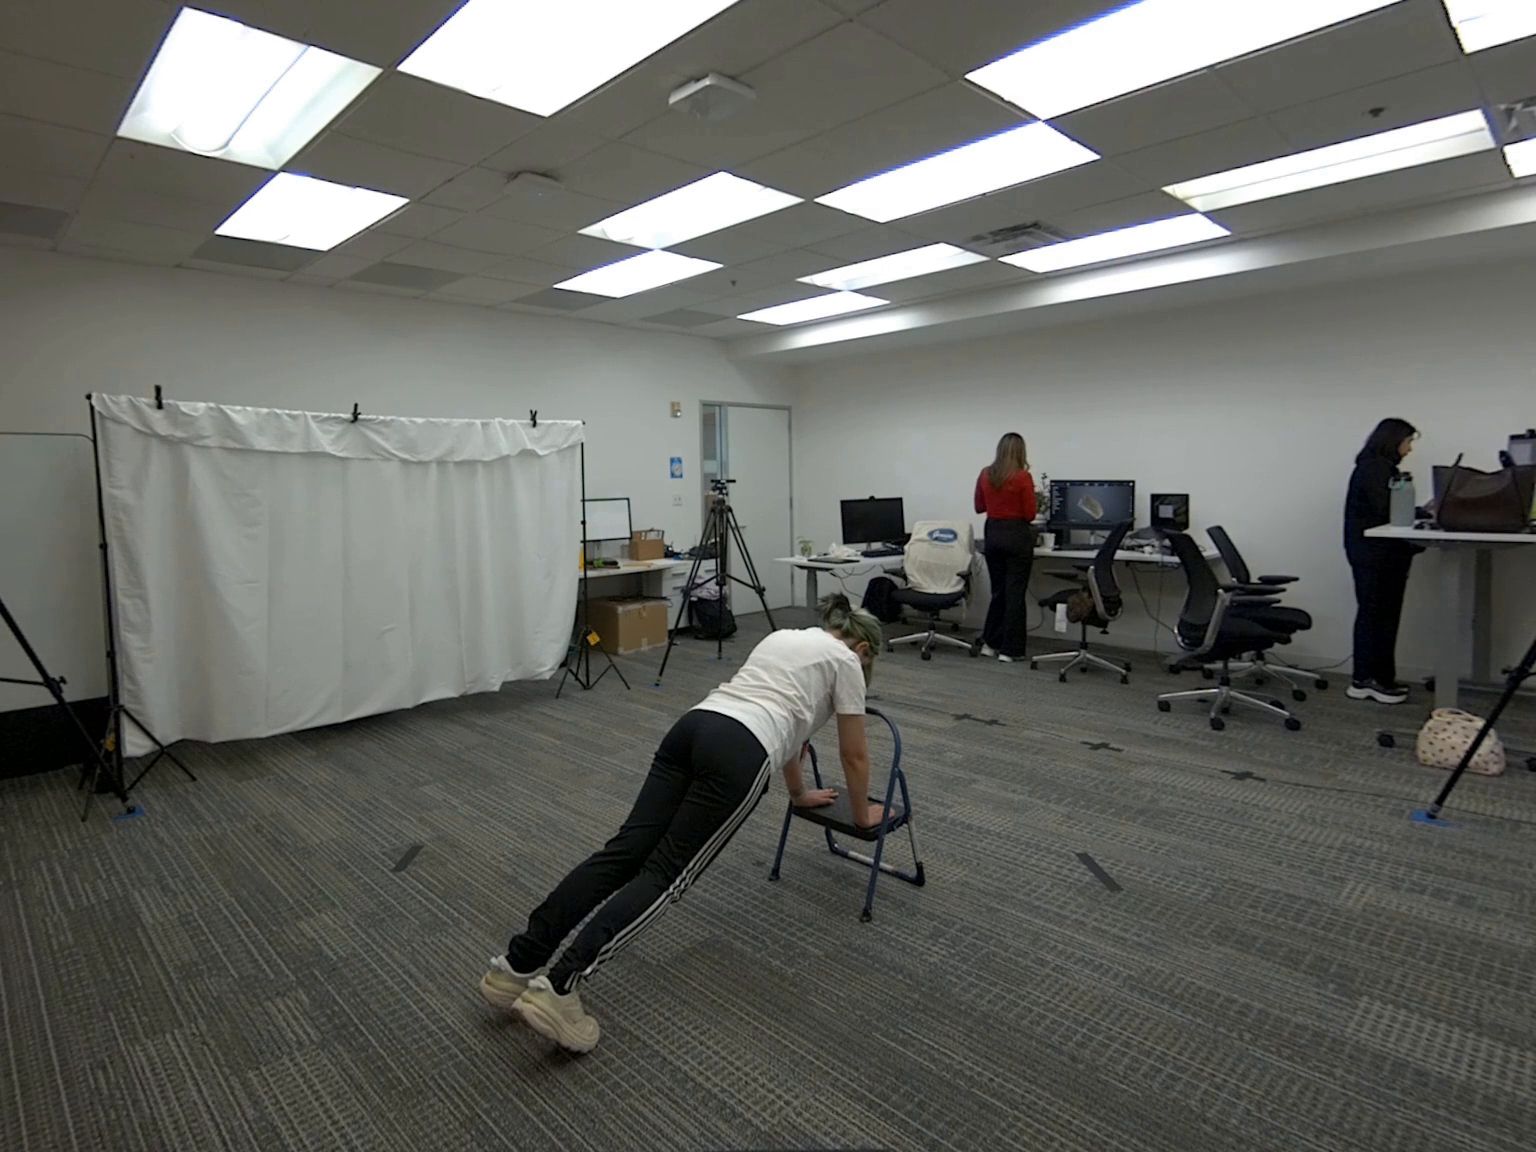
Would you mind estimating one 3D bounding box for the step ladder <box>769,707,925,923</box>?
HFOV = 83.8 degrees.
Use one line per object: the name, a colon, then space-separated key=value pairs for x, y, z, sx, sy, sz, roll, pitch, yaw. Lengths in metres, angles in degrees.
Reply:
step ladder: x=0.271 y=0.758 z=2.939 sx=0.444 sy=0.604 sz=0.340 roll=3 pitch=6 yaw=45
